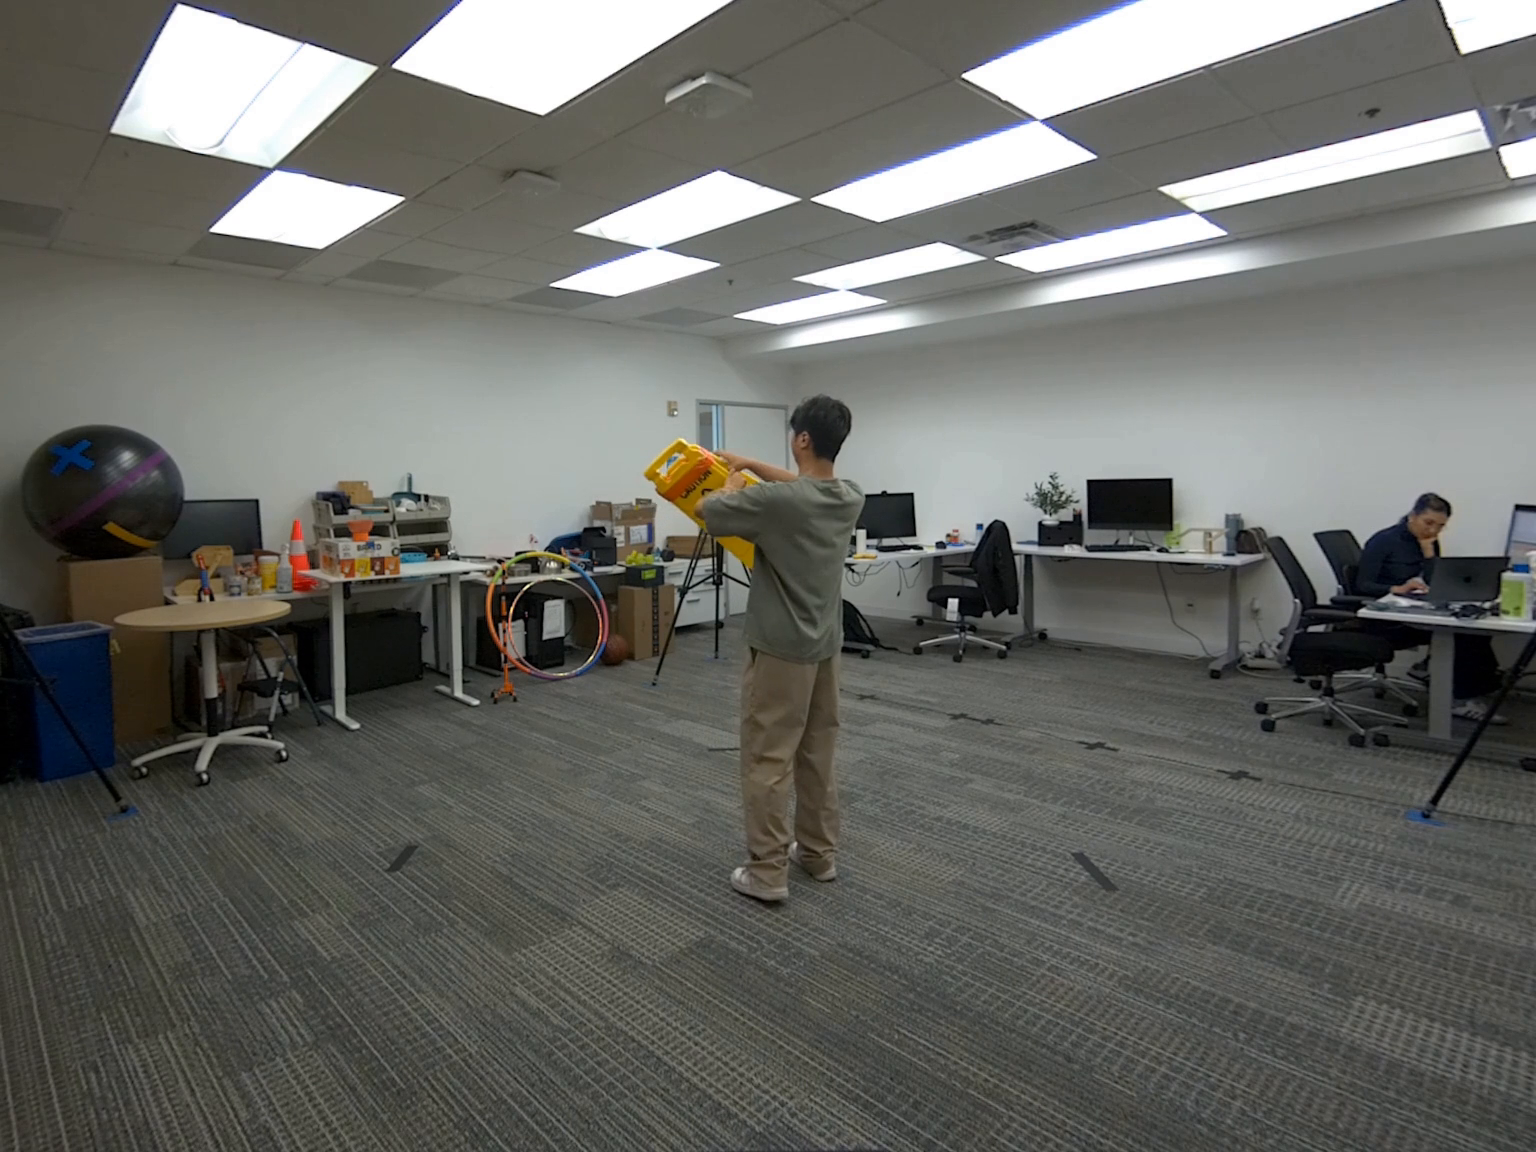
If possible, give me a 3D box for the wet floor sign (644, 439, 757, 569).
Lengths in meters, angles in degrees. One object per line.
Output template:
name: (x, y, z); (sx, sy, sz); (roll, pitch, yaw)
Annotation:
wet floor sign: (-0.196, -0.305, 3.325); (0.621, 0.282, 0.300); (32, 22, -41)
